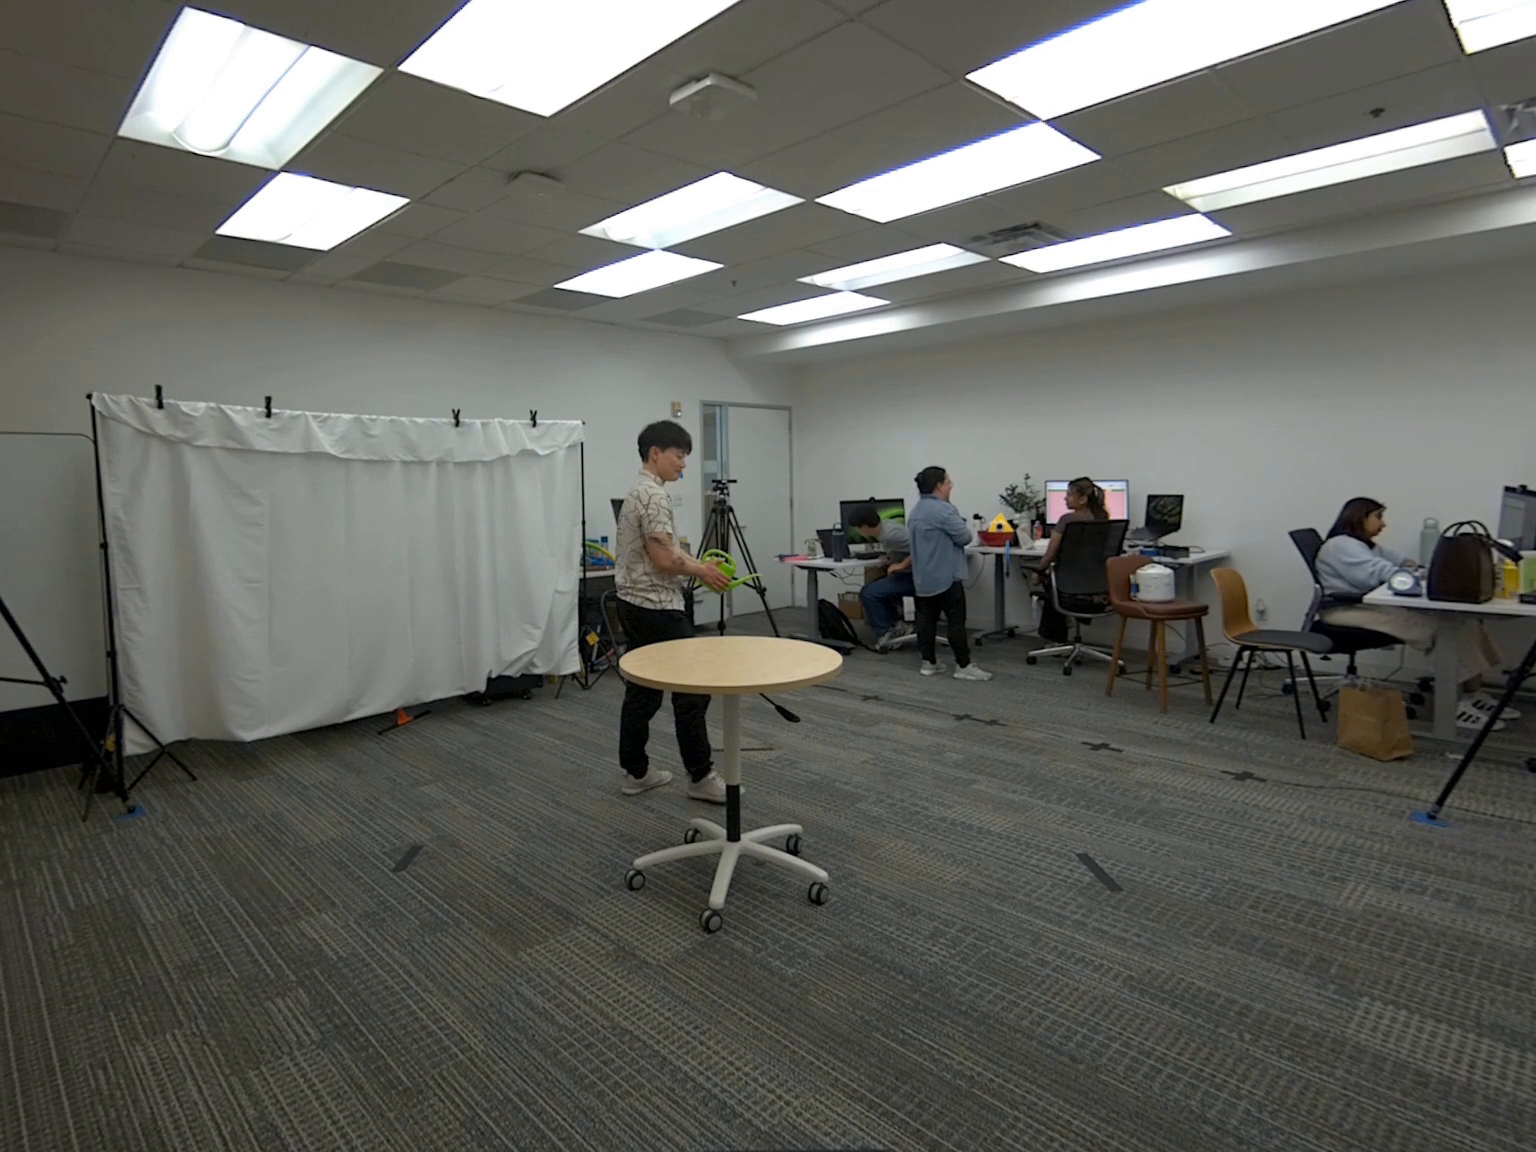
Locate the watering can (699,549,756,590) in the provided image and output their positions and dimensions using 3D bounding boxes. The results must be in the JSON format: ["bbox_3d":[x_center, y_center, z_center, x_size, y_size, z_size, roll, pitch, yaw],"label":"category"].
[{"bbox_3d":[-0.184,0.006,3.834,0.281,0.177,0.097,31,1,9],"label":"watering can"}]
